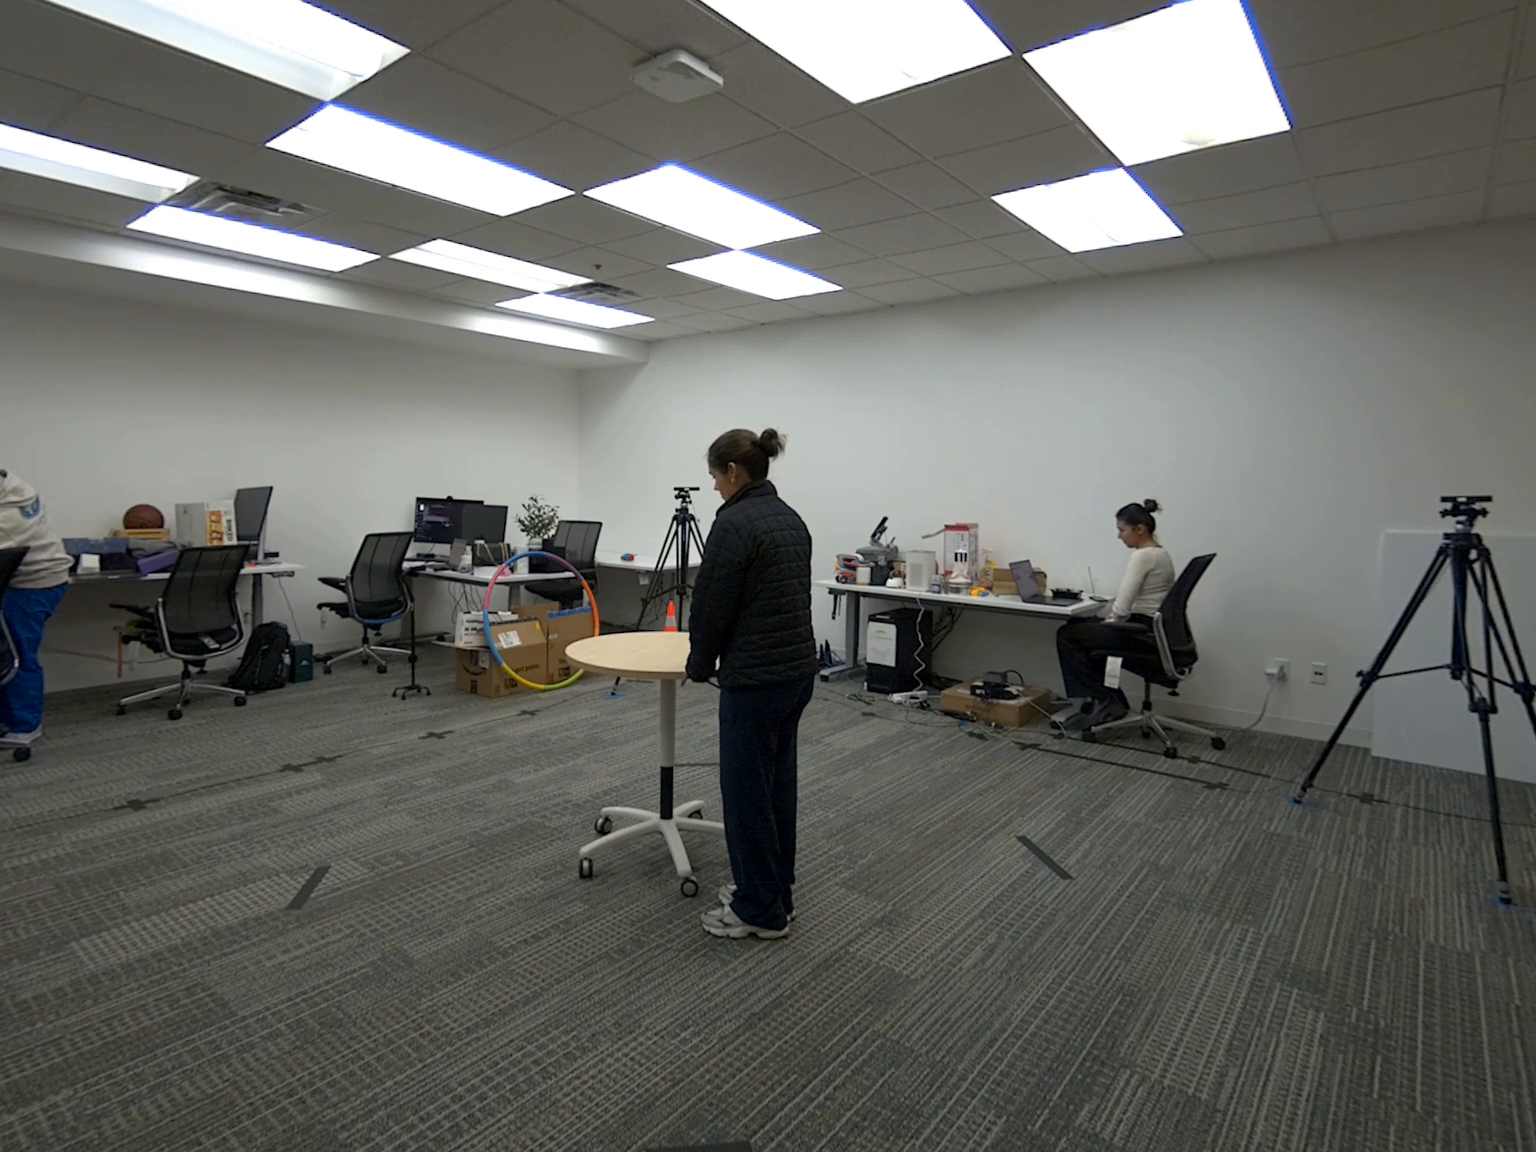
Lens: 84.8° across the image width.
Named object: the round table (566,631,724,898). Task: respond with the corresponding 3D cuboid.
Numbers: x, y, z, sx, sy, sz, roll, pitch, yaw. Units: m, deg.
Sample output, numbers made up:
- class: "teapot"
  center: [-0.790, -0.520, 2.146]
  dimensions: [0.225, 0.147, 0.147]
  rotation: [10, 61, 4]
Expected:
- class: "round table"
  center: [-0.365, 0.660, 3.209]
  dimensions: [0.784, 0.784, 0.789]
  rotation: [1, 4, -2]
